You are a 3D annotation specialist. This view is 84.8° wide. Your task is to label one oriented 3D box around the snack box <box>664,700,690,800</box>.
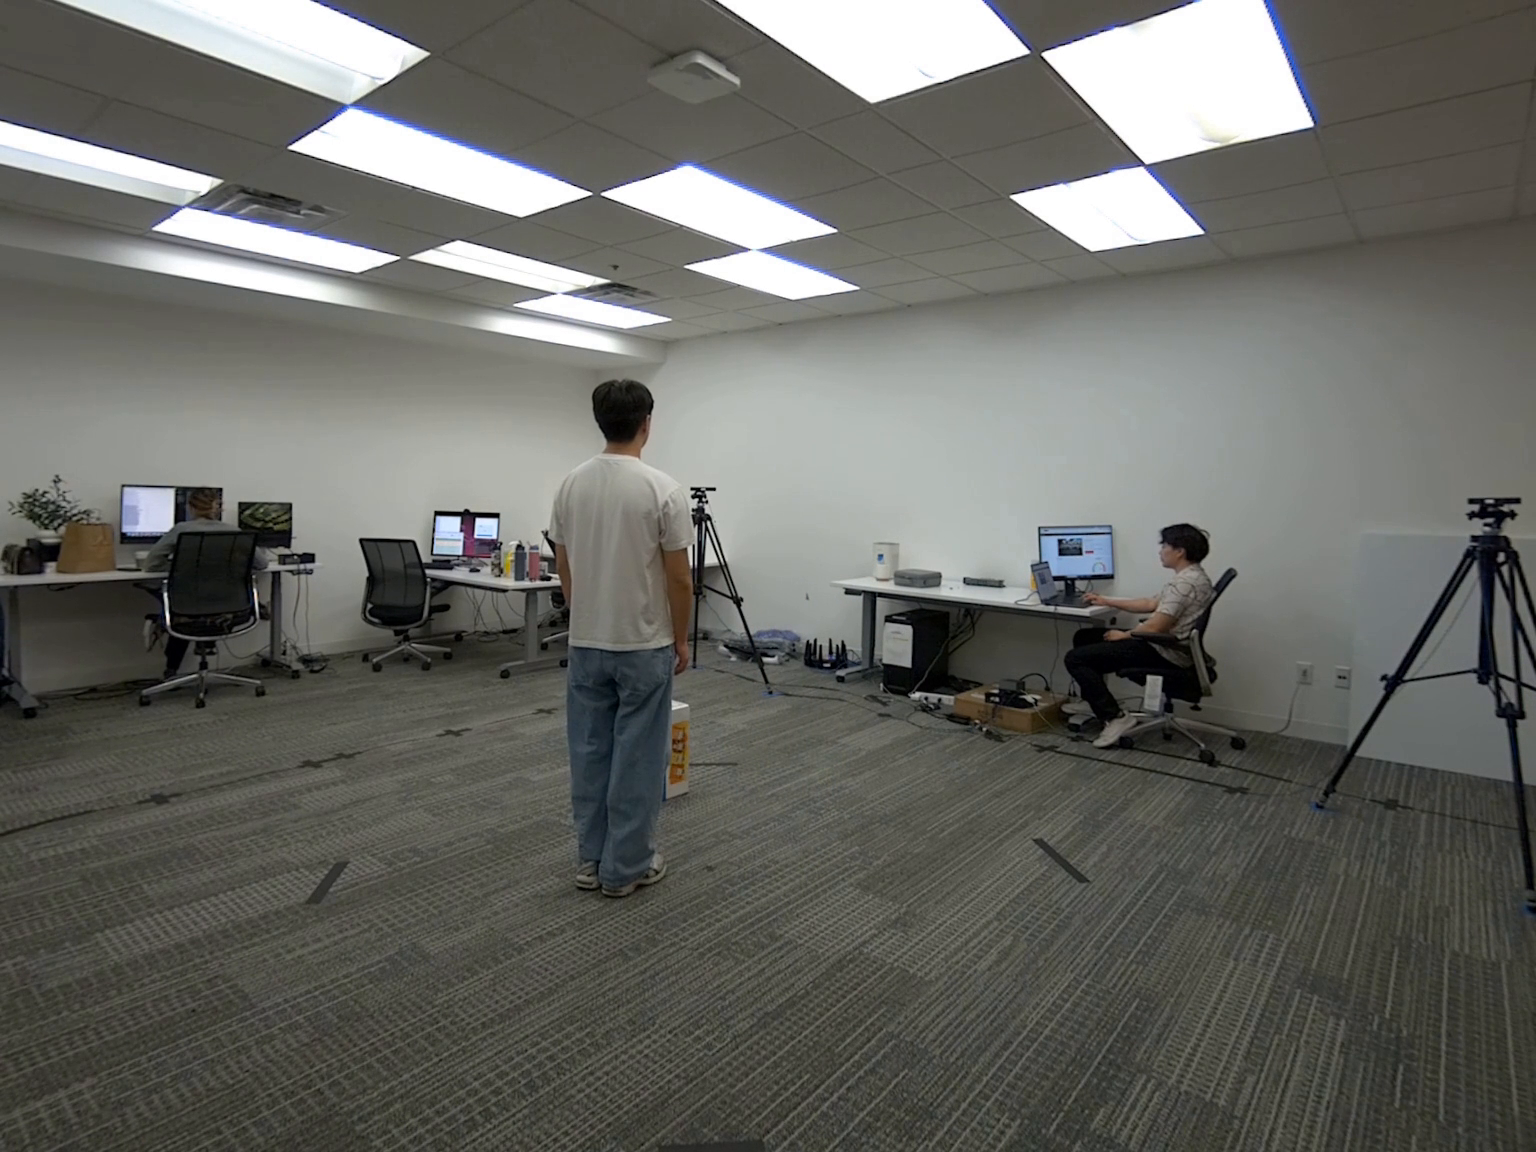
[{"bbox_3d":[-0.556,0.784,3.817,0.213,0.404,0.330,5,5,42],"label":"snack box"}]
